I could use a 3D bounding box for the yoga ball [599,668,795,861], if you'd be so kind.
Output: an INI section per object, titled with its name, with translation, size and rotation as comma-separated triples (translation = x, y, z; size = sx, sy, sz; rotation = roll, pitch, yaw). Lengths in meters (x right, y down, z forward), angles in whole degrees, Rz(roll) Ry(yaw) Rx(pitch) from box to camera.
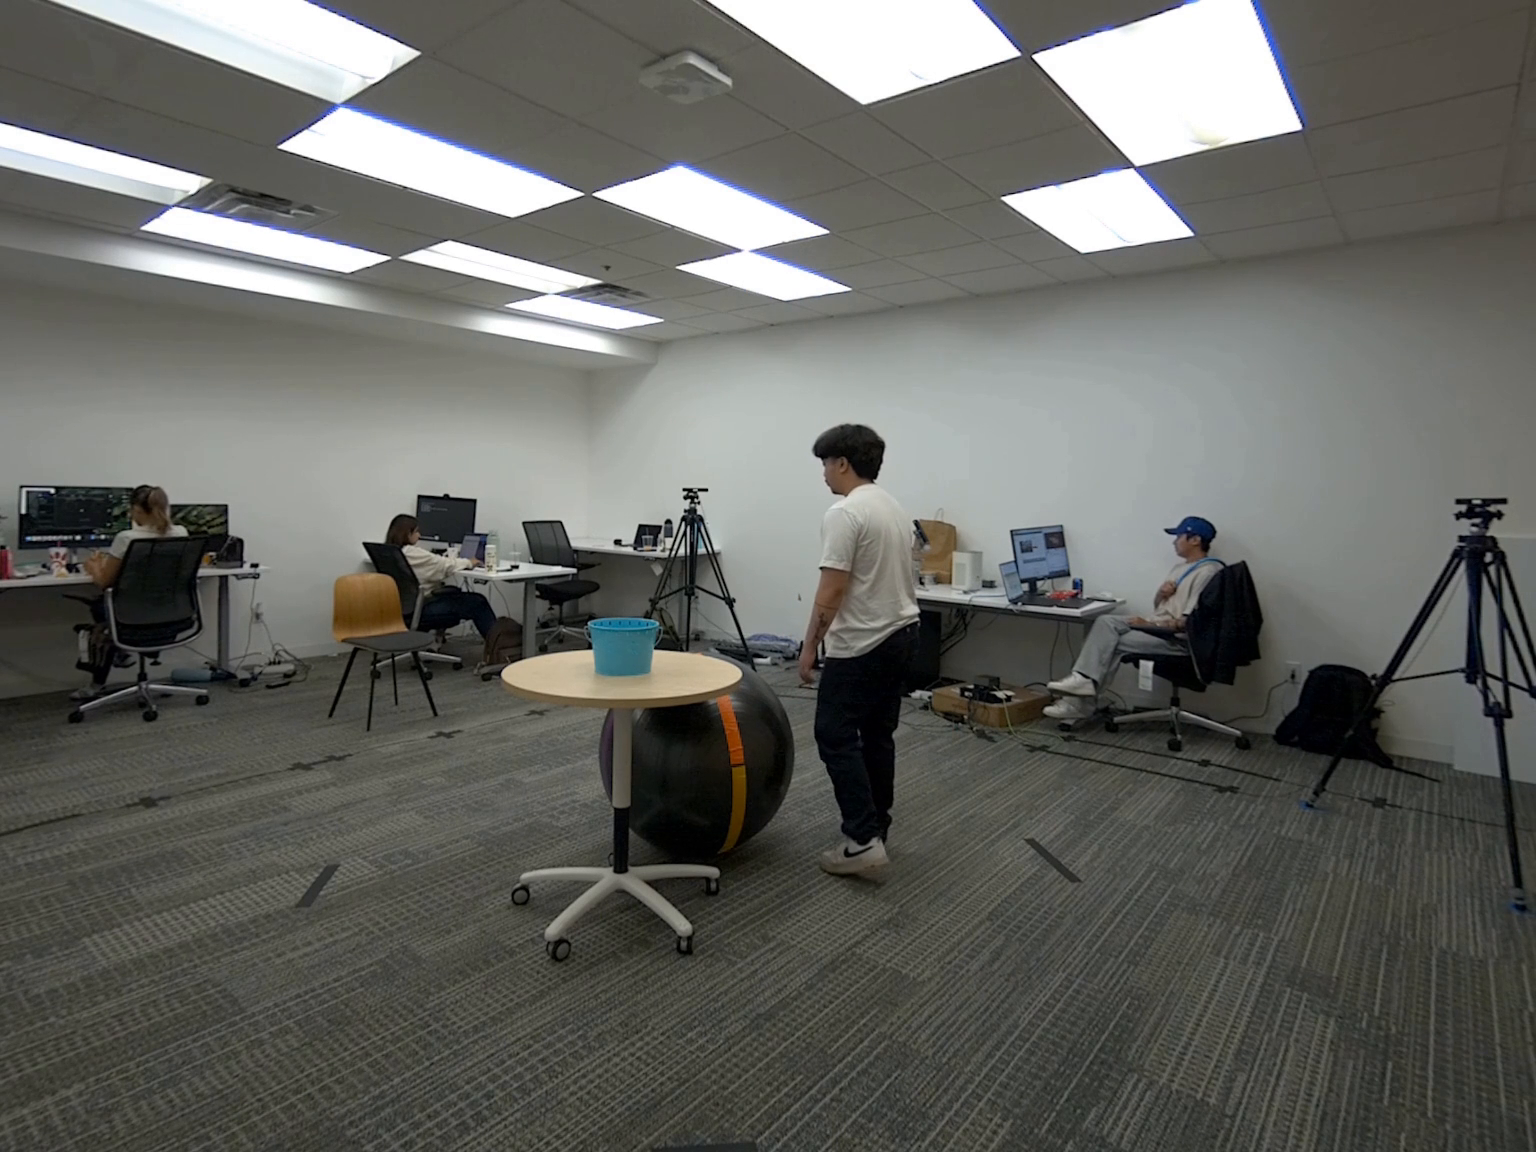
[yoga ball]
translation = -0.290, 0.680, 3.298
size = 0.757, 0.756, 0.761
rotation = 1, 4, -2
